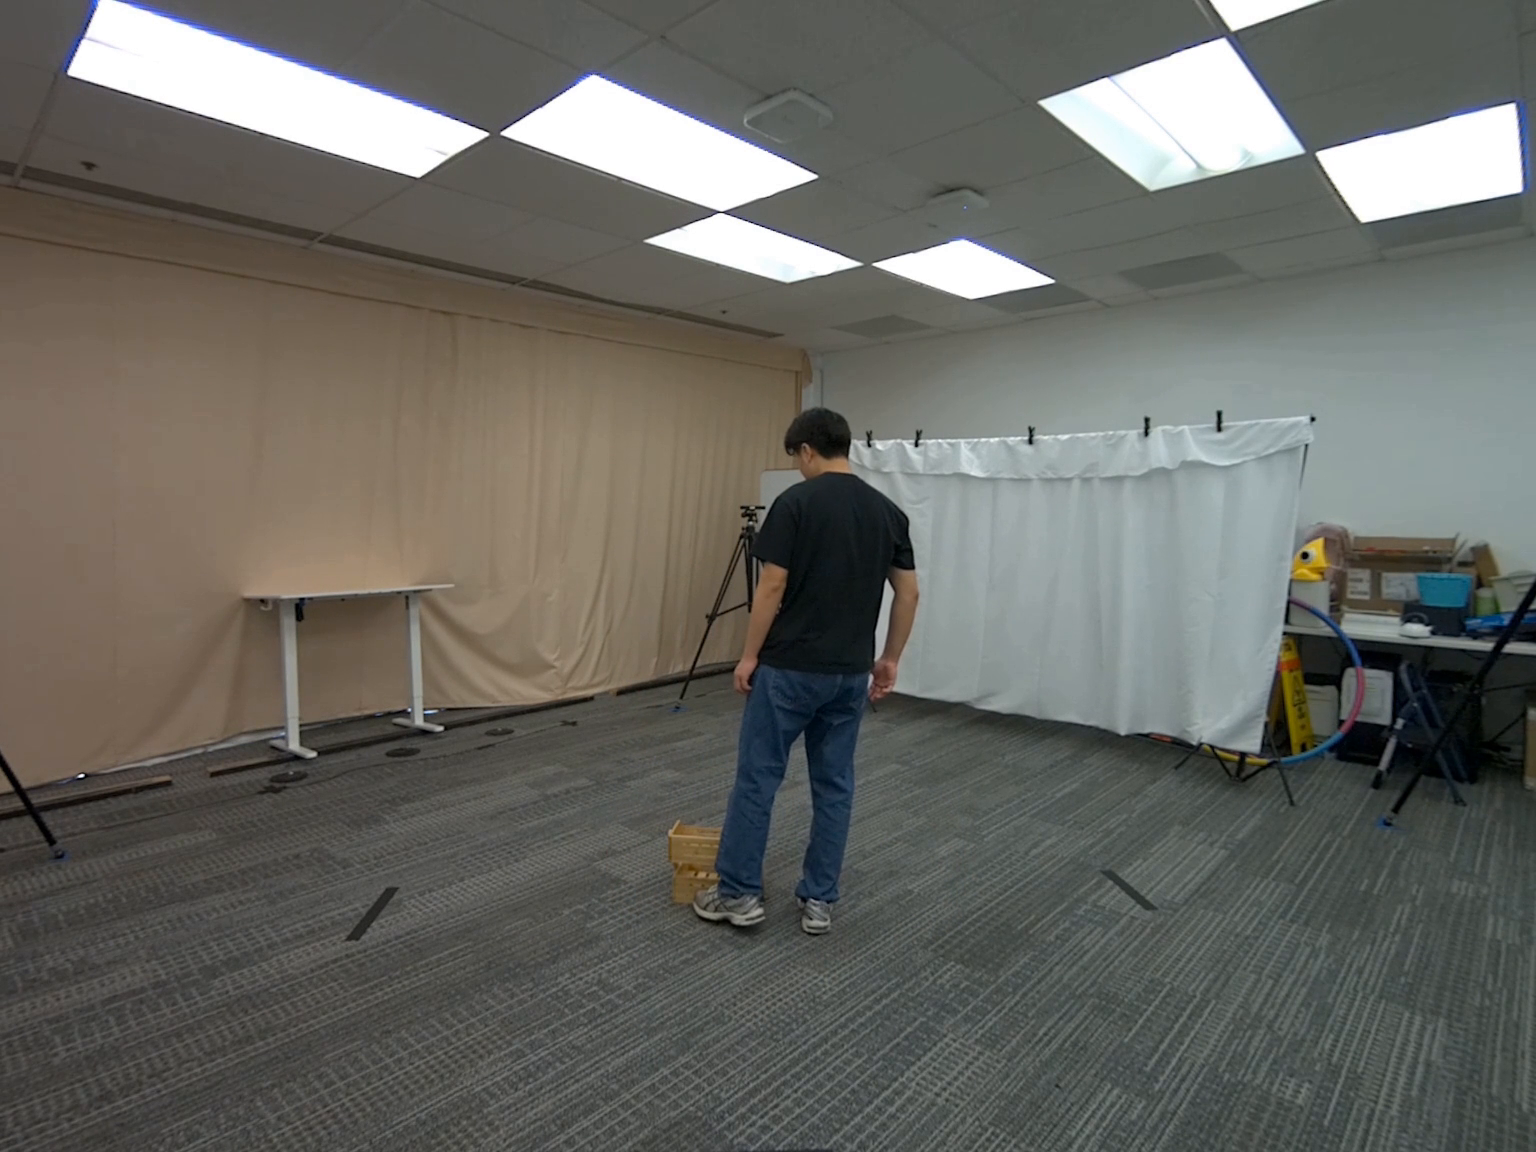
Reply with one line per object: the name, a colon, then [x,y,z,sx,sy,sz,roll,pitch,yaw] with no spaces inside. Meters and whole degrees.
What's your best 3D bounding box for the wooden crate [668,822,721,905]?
wooden crate: [-0.180,1.012,3.030,0.327,0.273,0.300,0,4,7]
